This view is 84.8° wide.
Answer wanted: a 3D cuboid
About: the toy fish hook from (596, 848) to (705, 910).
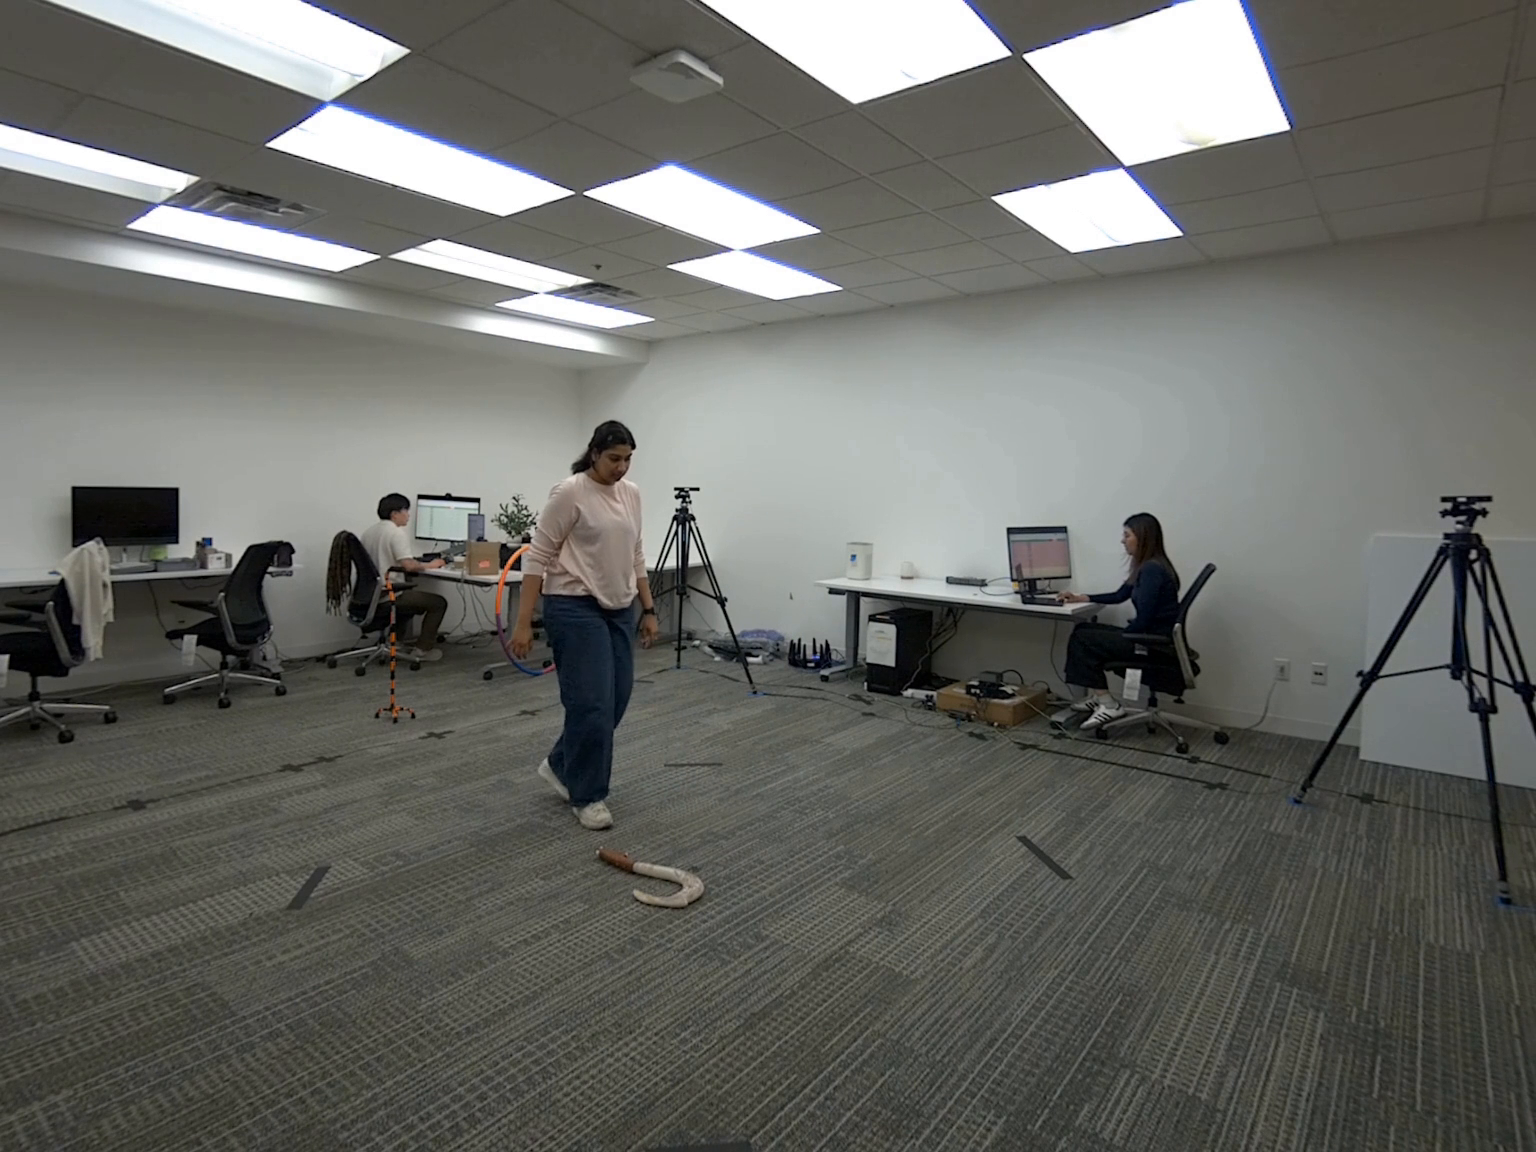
[{"bbox_3d":[-0.466,1.052,2.986,0.523,0.048,0.218,4,5,35],"label":"toy fish hook"}]
